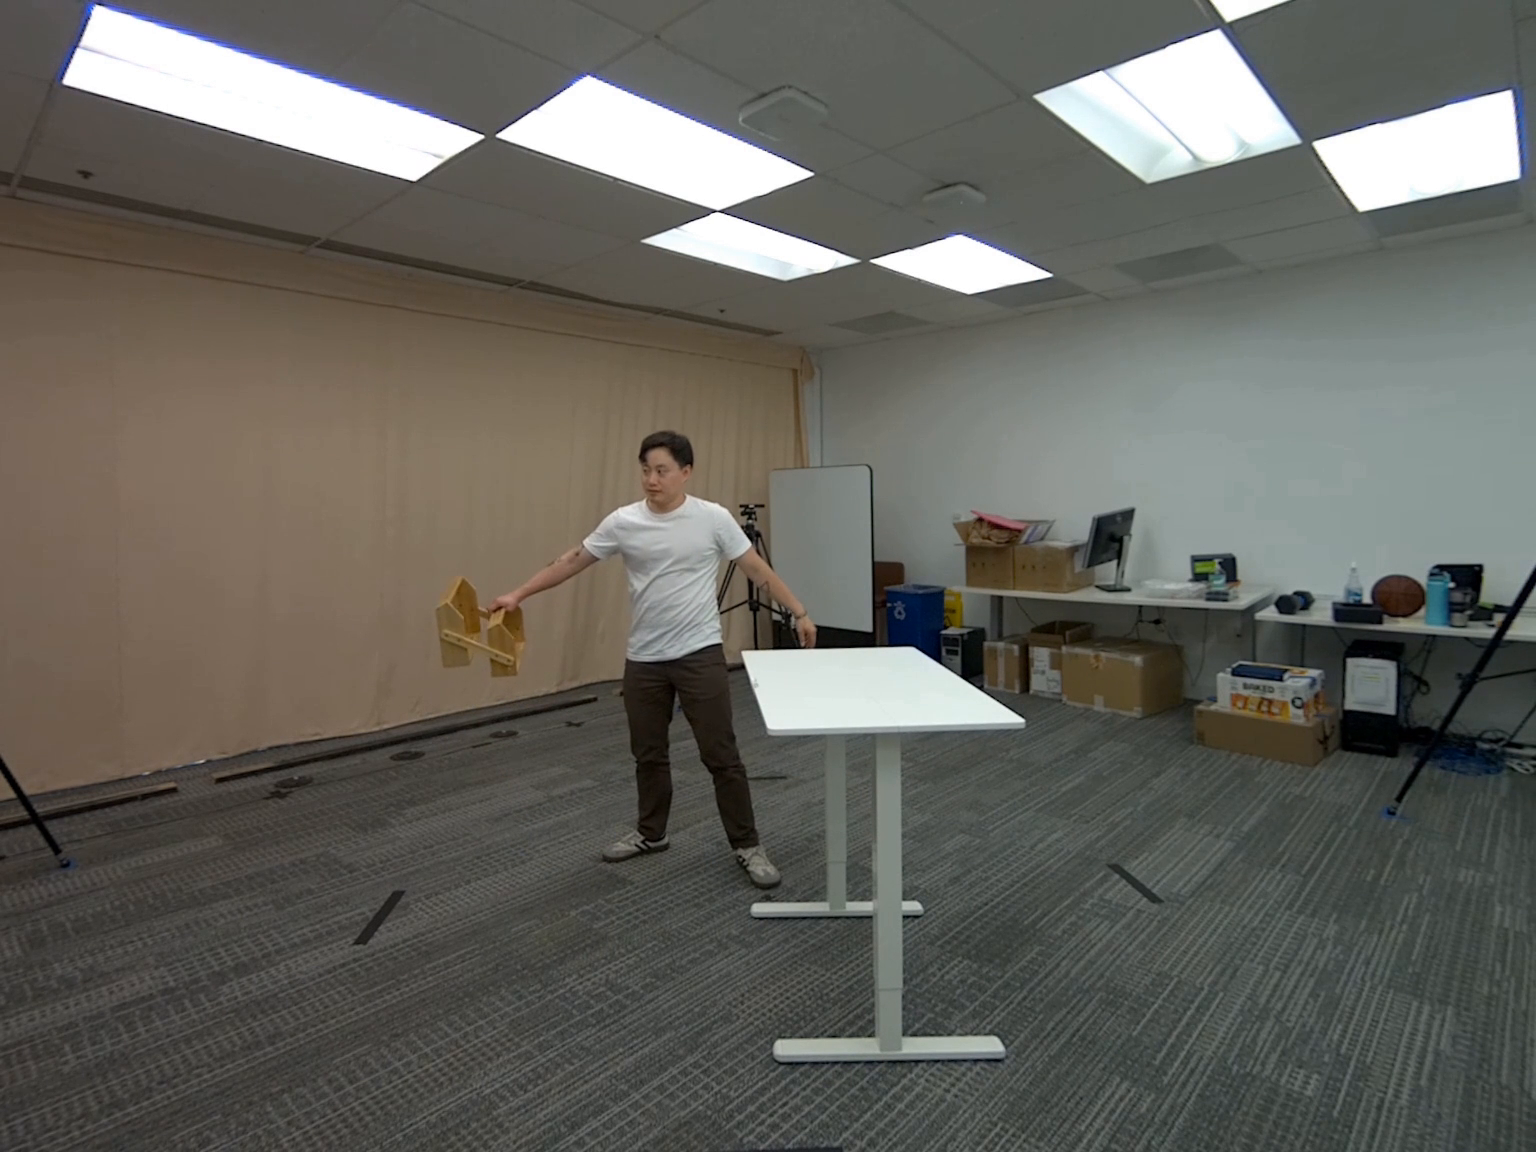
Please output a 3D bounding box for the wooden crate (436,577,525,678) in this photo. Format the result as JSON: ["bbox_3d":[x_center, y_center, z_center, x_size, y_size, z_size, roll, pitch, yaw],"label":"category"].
[{"bbox_3d":[-1.068,0.189,3.175,0.271,0.298,0.331,-4,18,-9],"label":"wooden crate"}]
